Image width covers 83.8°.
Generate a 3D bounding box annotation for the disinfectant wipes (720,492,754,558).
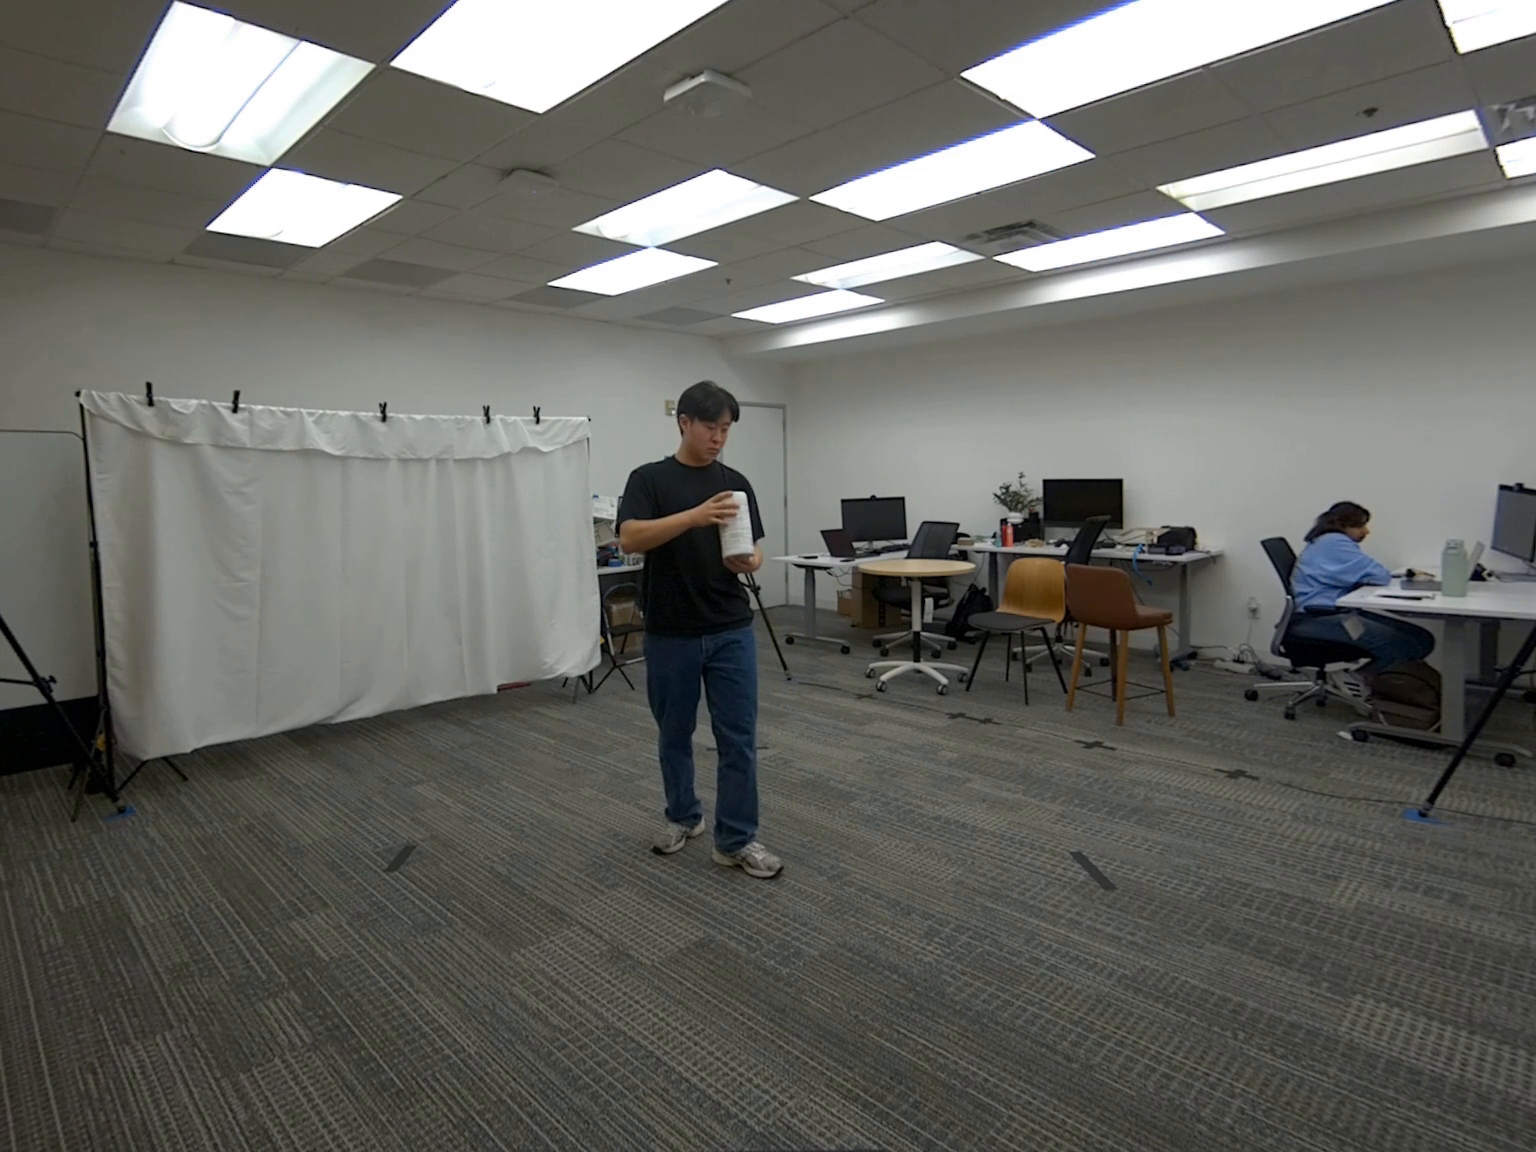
[{"bbox_3d":[-0.127,-0.161,2.861,0.117,0.221,0.116,-9,-14,-4],"label":"disinfectant wipes"}]
